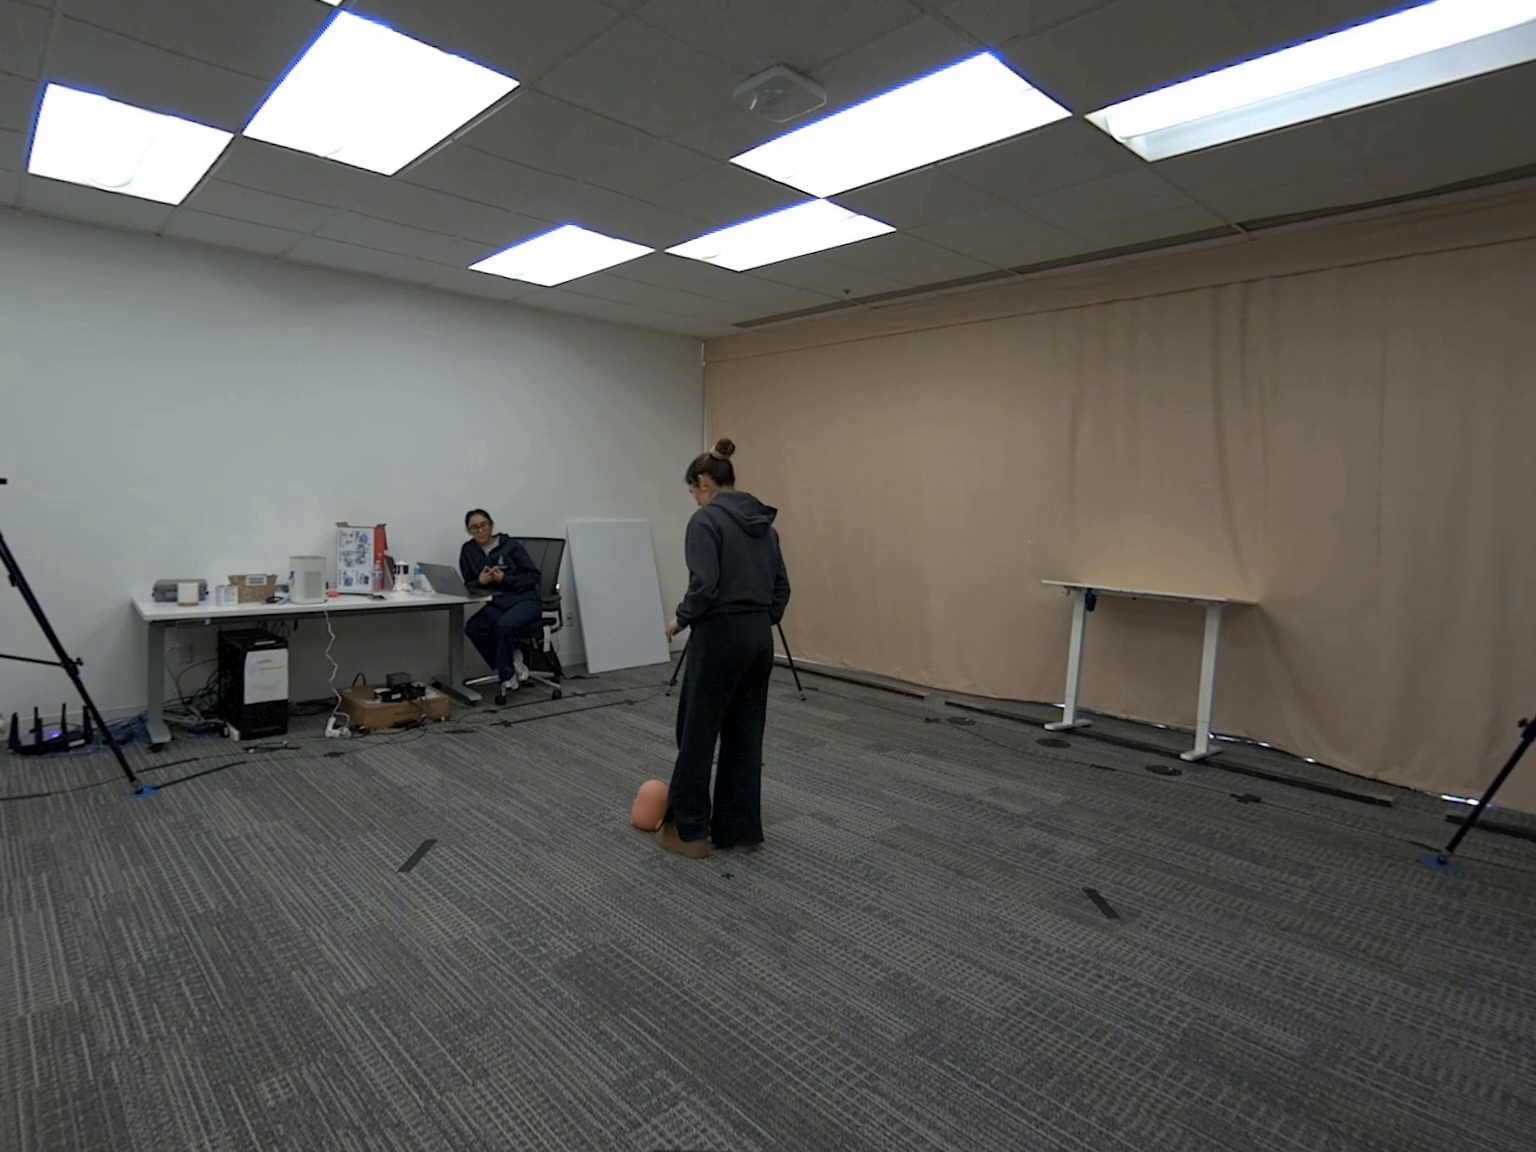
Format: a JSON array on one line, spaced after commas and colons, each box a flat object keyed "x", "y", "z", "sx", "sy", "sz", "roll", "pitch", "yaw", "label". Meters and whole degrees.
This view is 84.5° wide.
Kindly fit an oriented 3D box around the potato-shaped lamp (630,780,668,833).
[{"x": -0.497, "y": 0.956, "z": 3.557, "sx": 0.176, "sy": 0.197, "sz": 0.161, "roll": 6, "pitch": 7, "yaw": 37, "label": "potato-shaped lamp"}]
